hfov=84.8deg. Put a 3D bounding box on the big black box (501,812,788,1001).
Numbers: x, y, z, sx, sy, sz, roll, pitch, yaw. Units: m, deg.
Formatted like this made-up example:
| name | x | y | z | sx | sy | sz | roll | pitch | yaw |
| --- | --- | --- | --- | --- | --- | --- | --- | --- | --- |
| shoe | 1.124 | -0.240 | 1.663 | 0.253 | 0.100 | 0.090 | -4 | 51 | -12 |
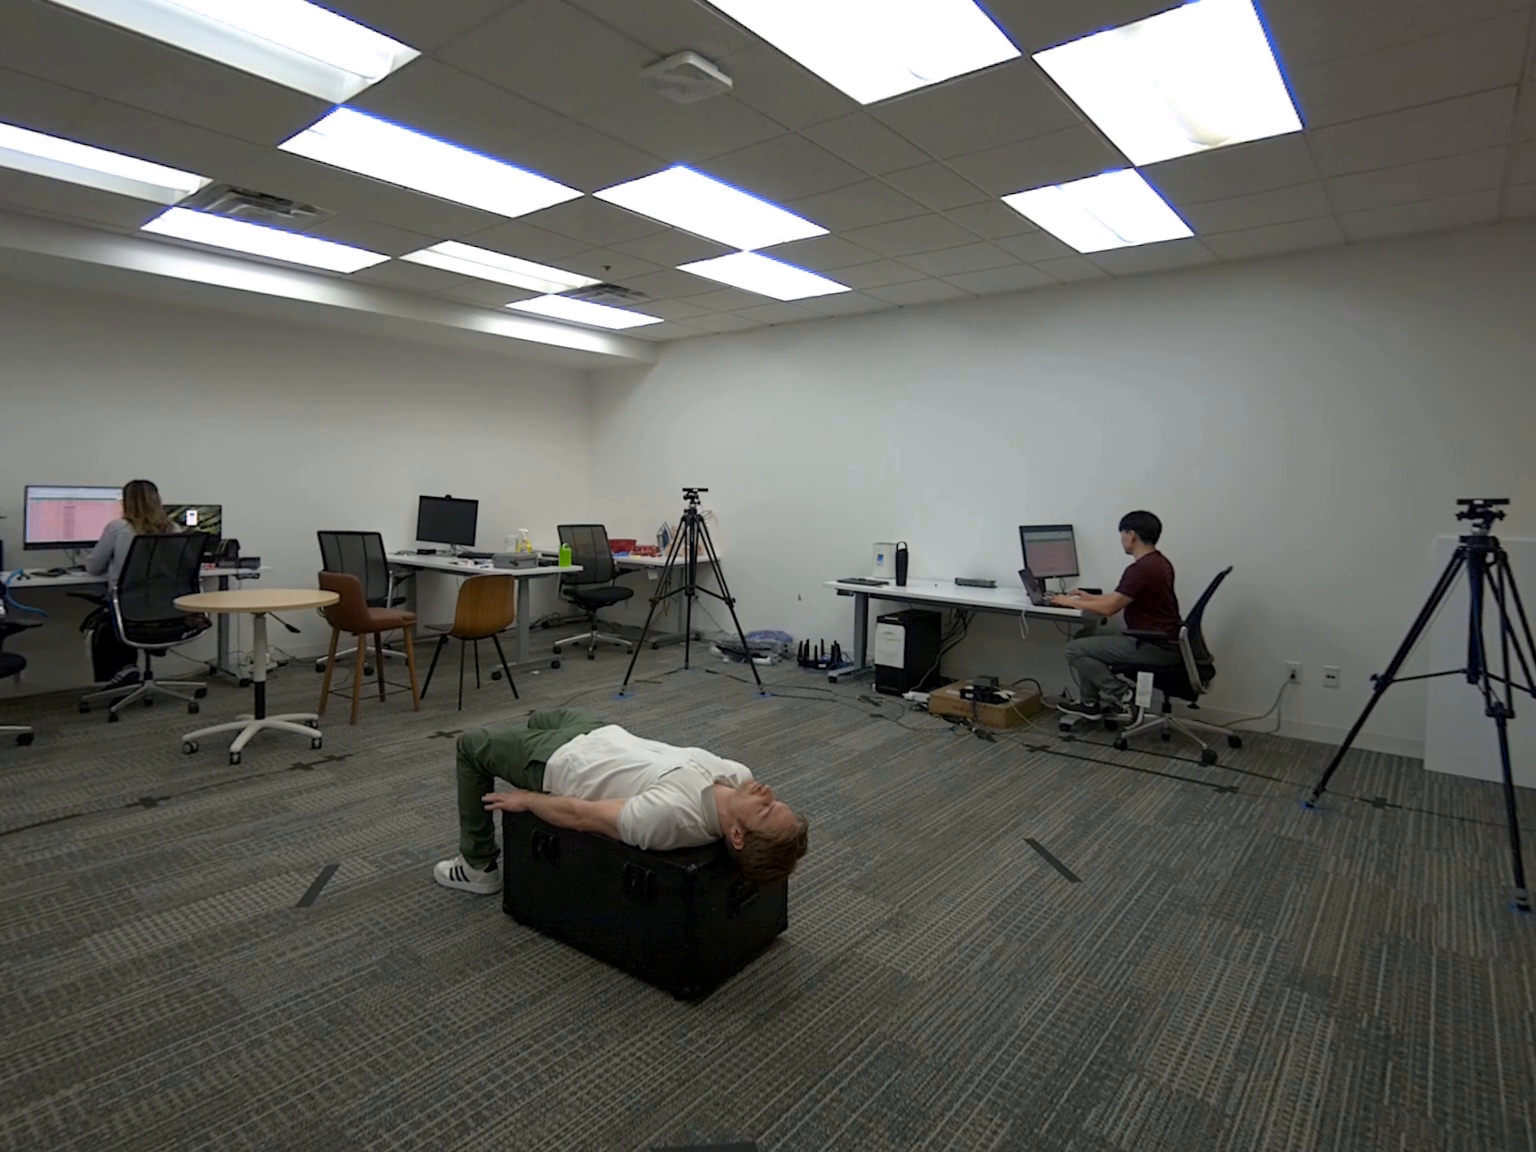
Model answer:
| name | x | y | z | sx | sy | sz | roll | pitch | yaw |
| --- | --- | --- | --- | --- | --- | --- | --- | --- | --- |
| big black box | -0.427 | 0.918 | 2.703 | 0.896 | 0.384 | 0.509 | 4 | 6 | 35 |
